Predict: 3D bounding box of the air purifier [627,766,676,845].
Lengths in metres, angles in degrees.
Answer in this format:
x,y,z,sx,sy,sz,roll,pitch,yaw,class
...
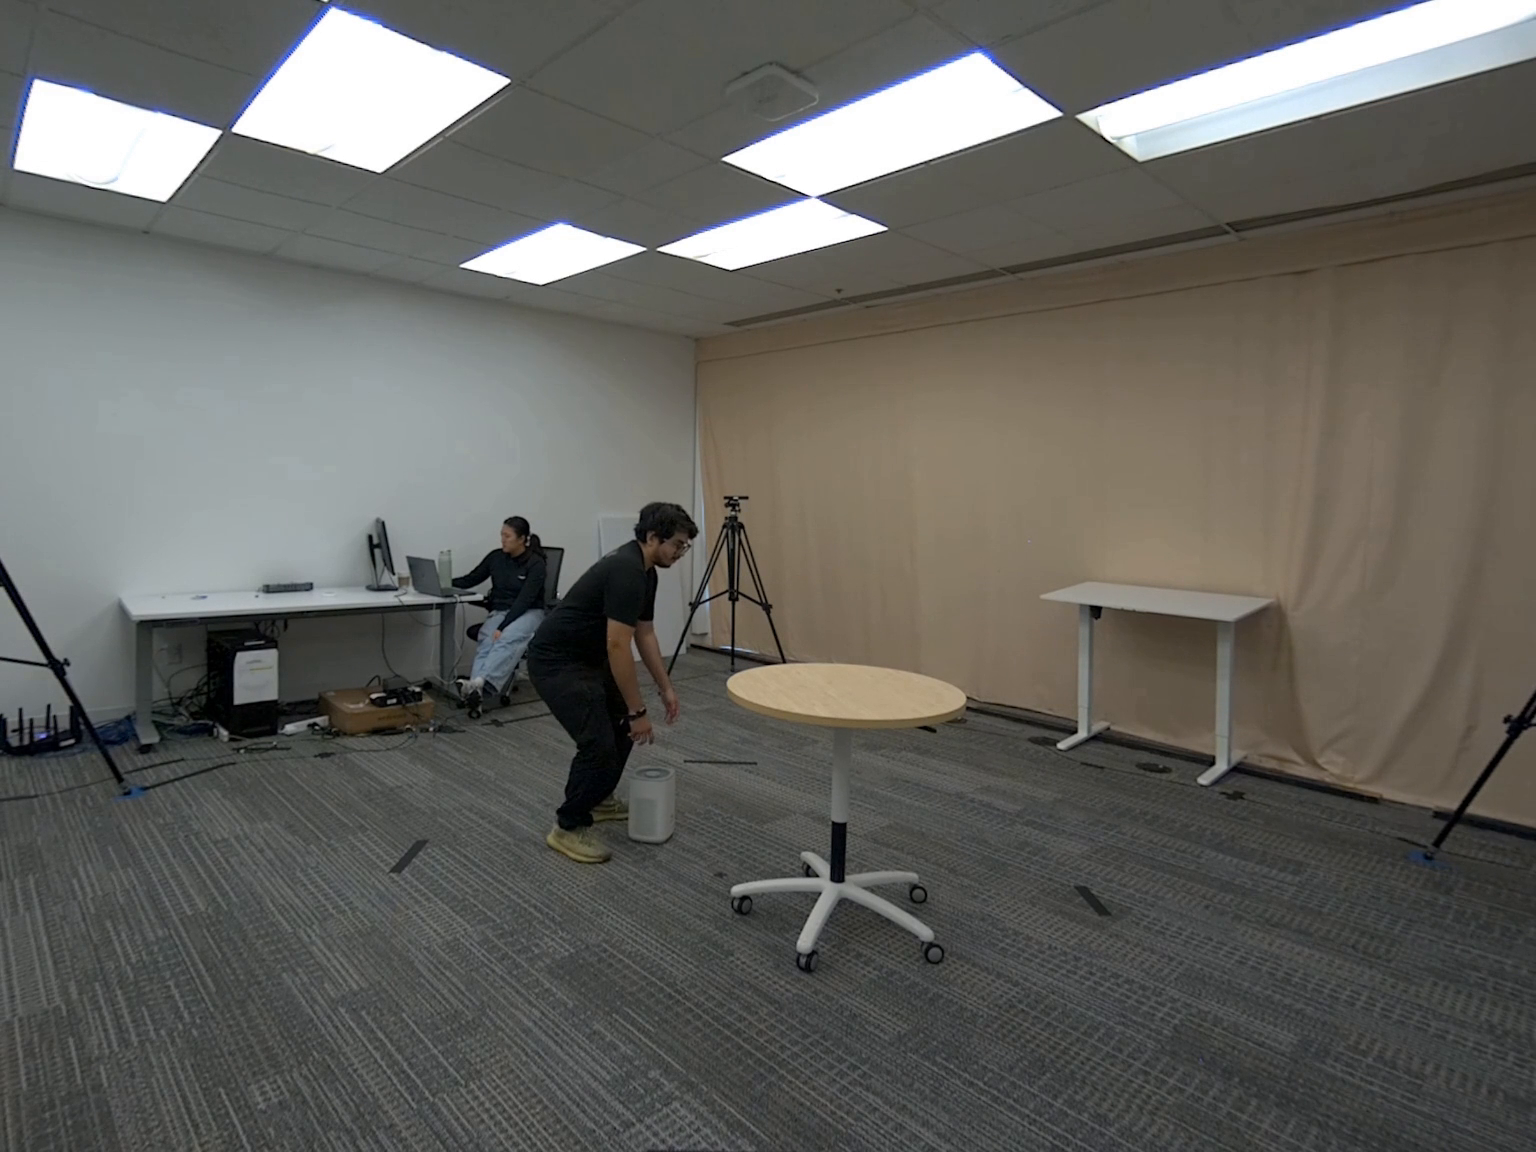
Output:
x,y,z,sx,sy,sz,roll,pitch,yaw,class
-0.481,0.932,3.434,0.176,0.261,0.166,3,3,15,air purifier
